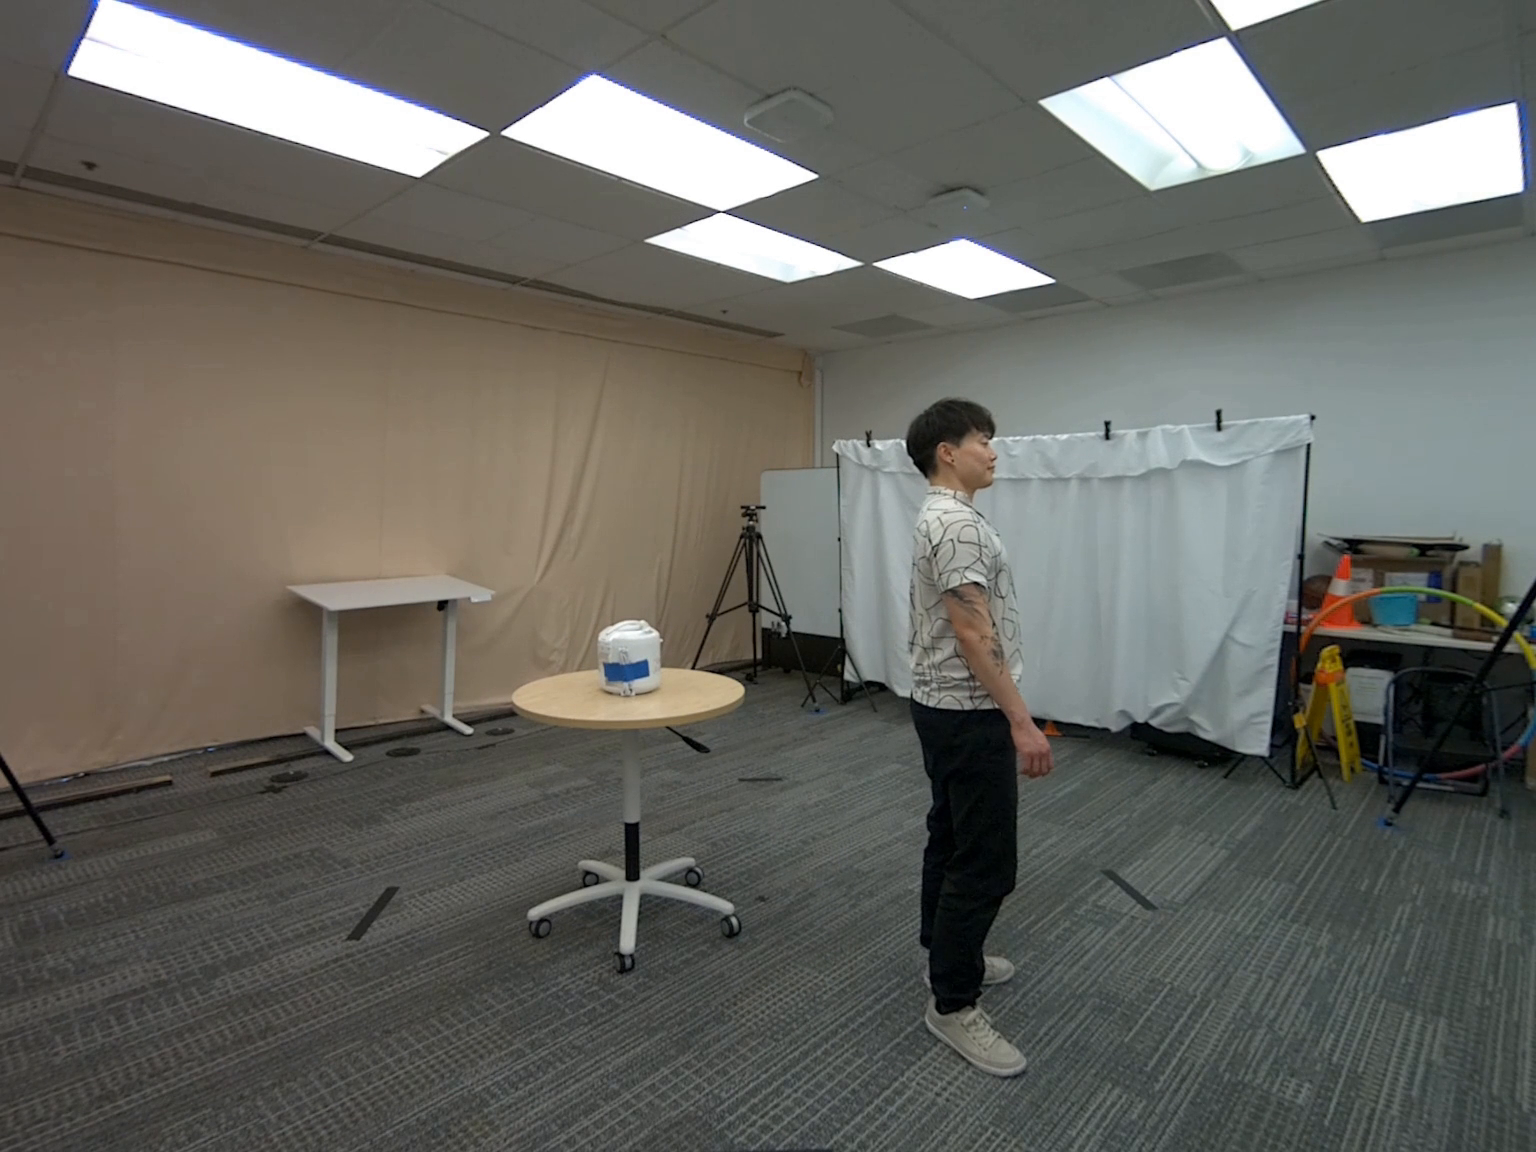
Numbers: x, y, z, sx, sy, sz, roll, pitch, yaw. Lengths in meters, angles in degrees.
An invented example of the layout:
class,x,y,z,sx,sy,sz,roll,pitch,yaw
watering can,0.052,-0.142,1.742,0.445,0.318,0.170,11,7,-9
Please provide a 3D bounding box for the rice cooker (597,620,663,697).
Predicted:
class,x,y,z,sx,sy,sz,roll,pitch,yaw
rice cooker,-0.462,0.264,2.803,0.225,0.232,0.214,5,6,44
